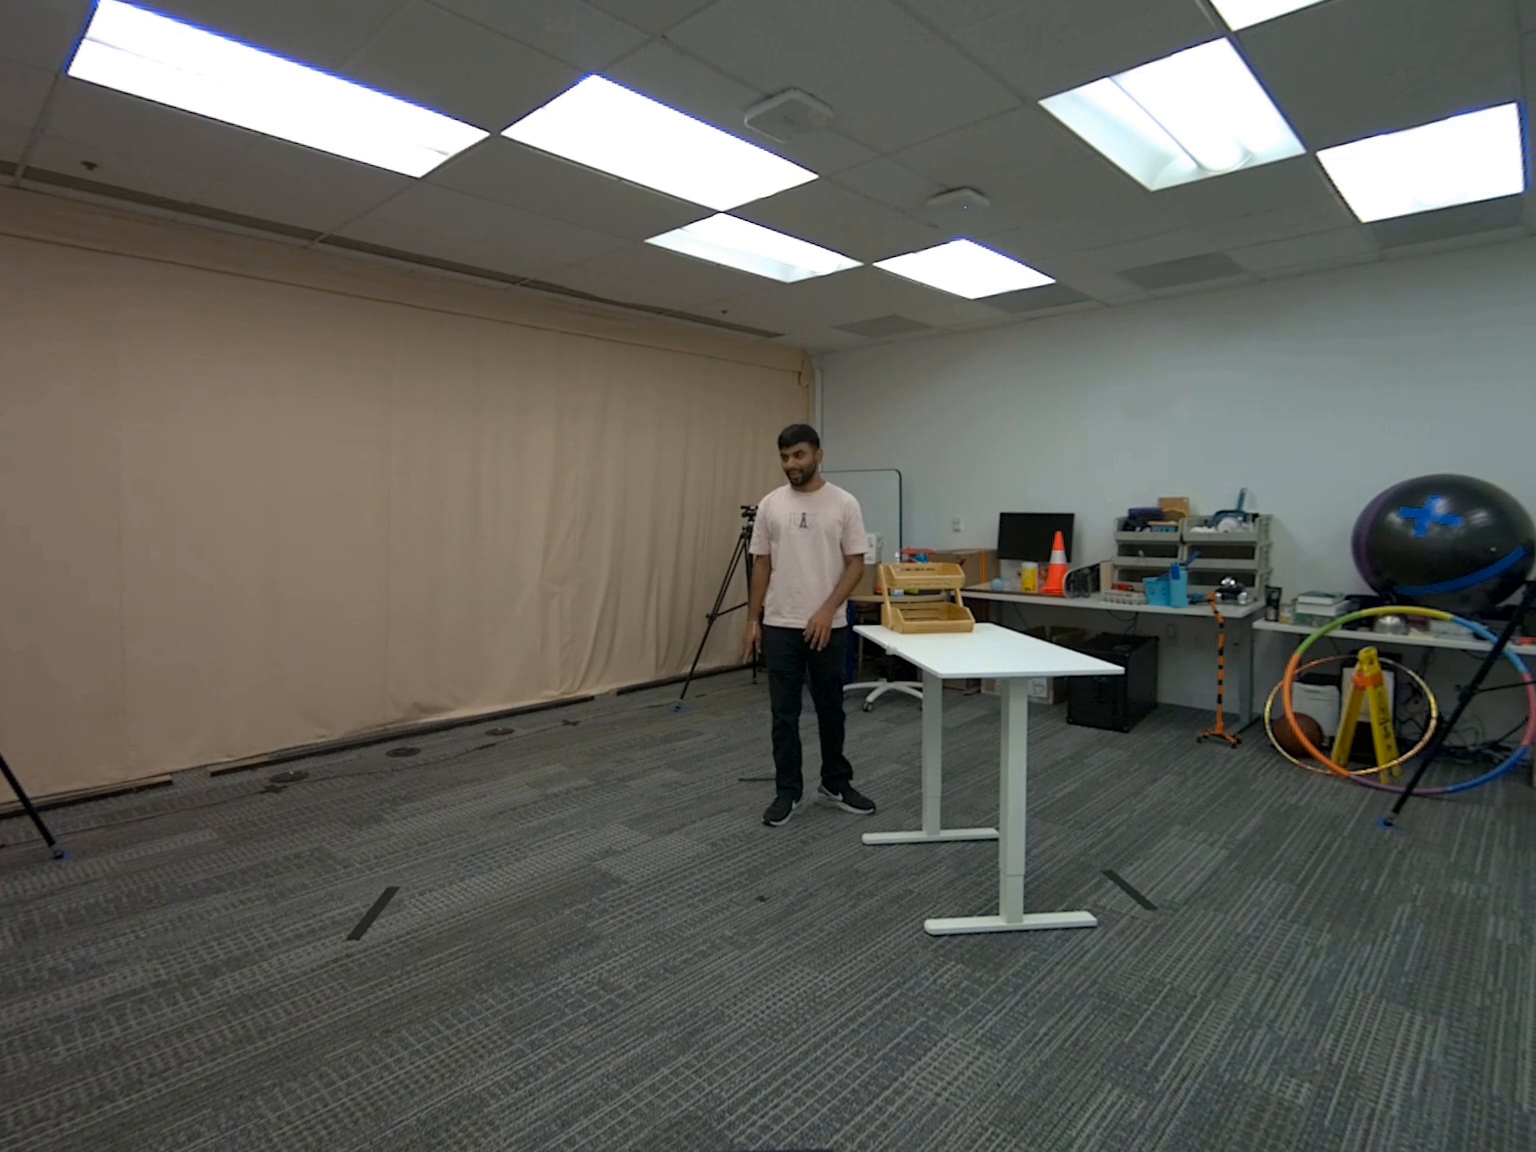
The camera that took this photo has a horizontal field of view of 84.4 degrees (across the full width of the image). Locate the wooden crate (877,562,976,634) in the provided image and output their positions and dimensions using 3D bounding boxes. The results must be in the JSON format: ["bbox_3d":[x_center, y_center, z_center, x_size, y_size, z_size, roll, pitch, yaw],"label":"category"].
[{"bbox_3d":[0.658,0.083,3.470,0.321,0.273,0.305,0,2,-10],"label":"wooden crate"}]
